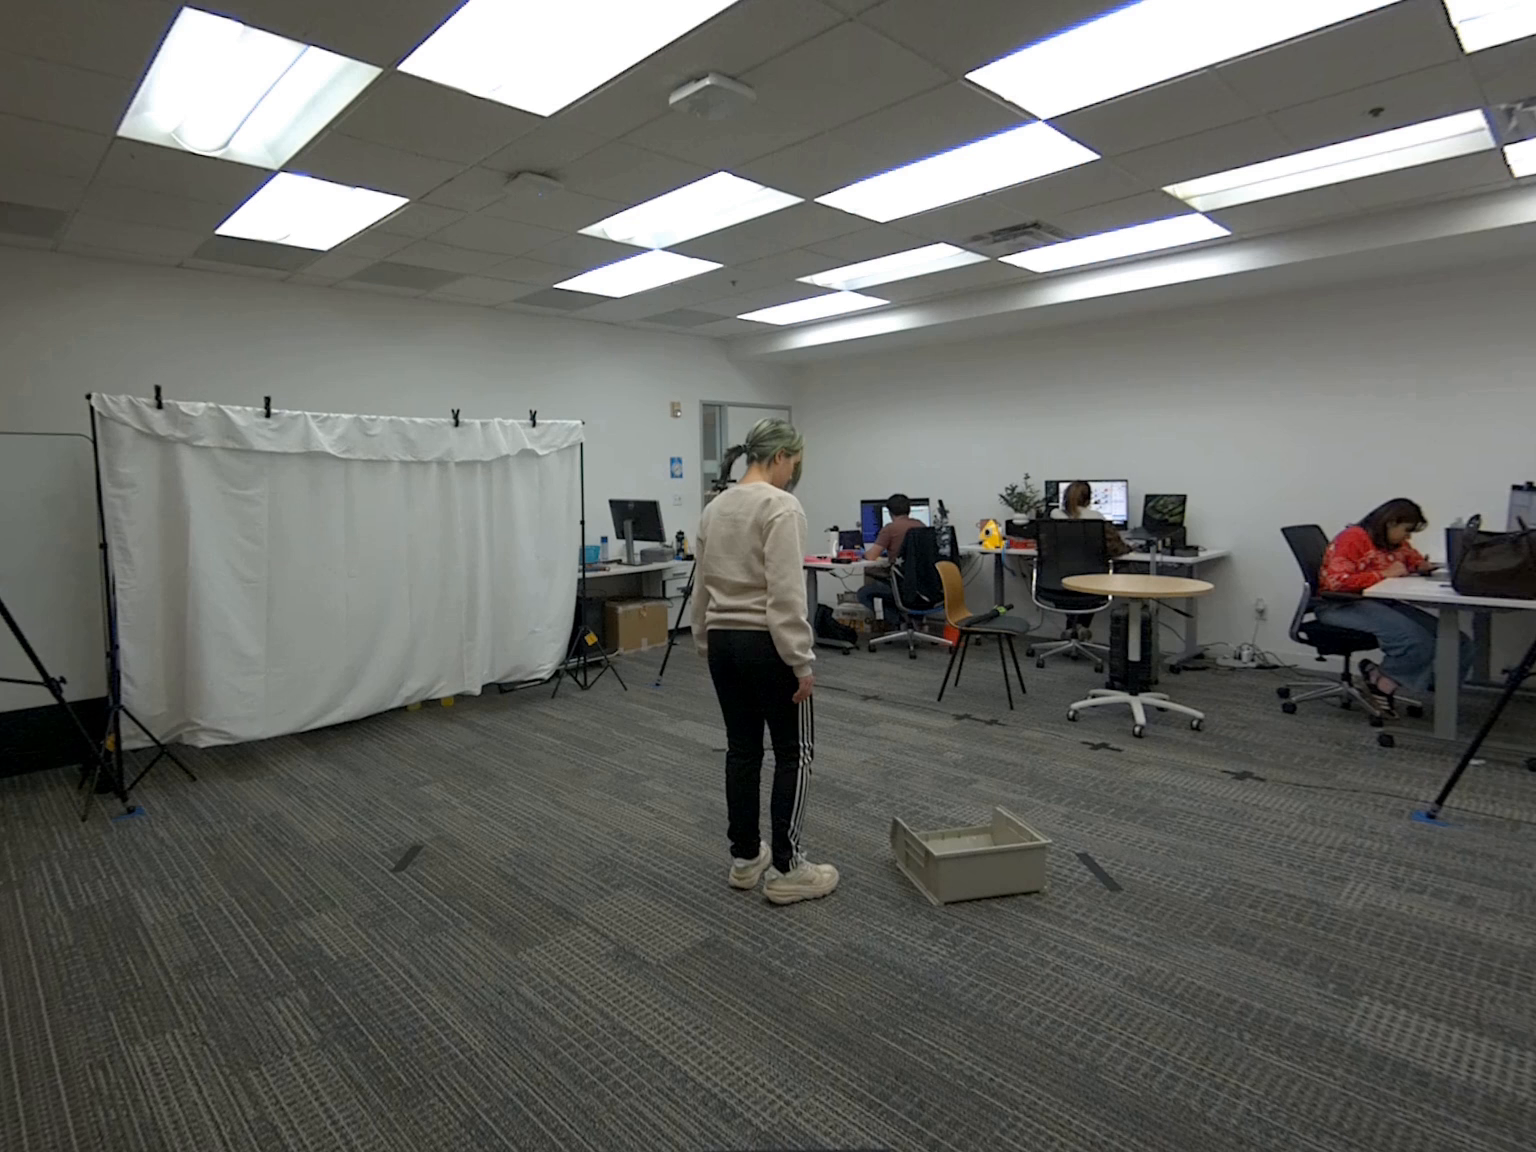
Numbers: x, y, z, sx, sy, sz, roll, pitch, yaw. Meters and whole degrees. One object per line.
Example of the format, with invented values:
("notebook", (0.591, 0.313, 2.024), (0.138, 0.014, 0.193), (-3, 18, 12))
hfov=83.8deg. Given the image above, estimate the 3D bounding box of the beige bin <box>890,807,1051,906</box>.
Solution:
("beige bin", (0.693, 0.956, 2.981), (0.417, 0.188, 0.384), (-2, 6, -14))
